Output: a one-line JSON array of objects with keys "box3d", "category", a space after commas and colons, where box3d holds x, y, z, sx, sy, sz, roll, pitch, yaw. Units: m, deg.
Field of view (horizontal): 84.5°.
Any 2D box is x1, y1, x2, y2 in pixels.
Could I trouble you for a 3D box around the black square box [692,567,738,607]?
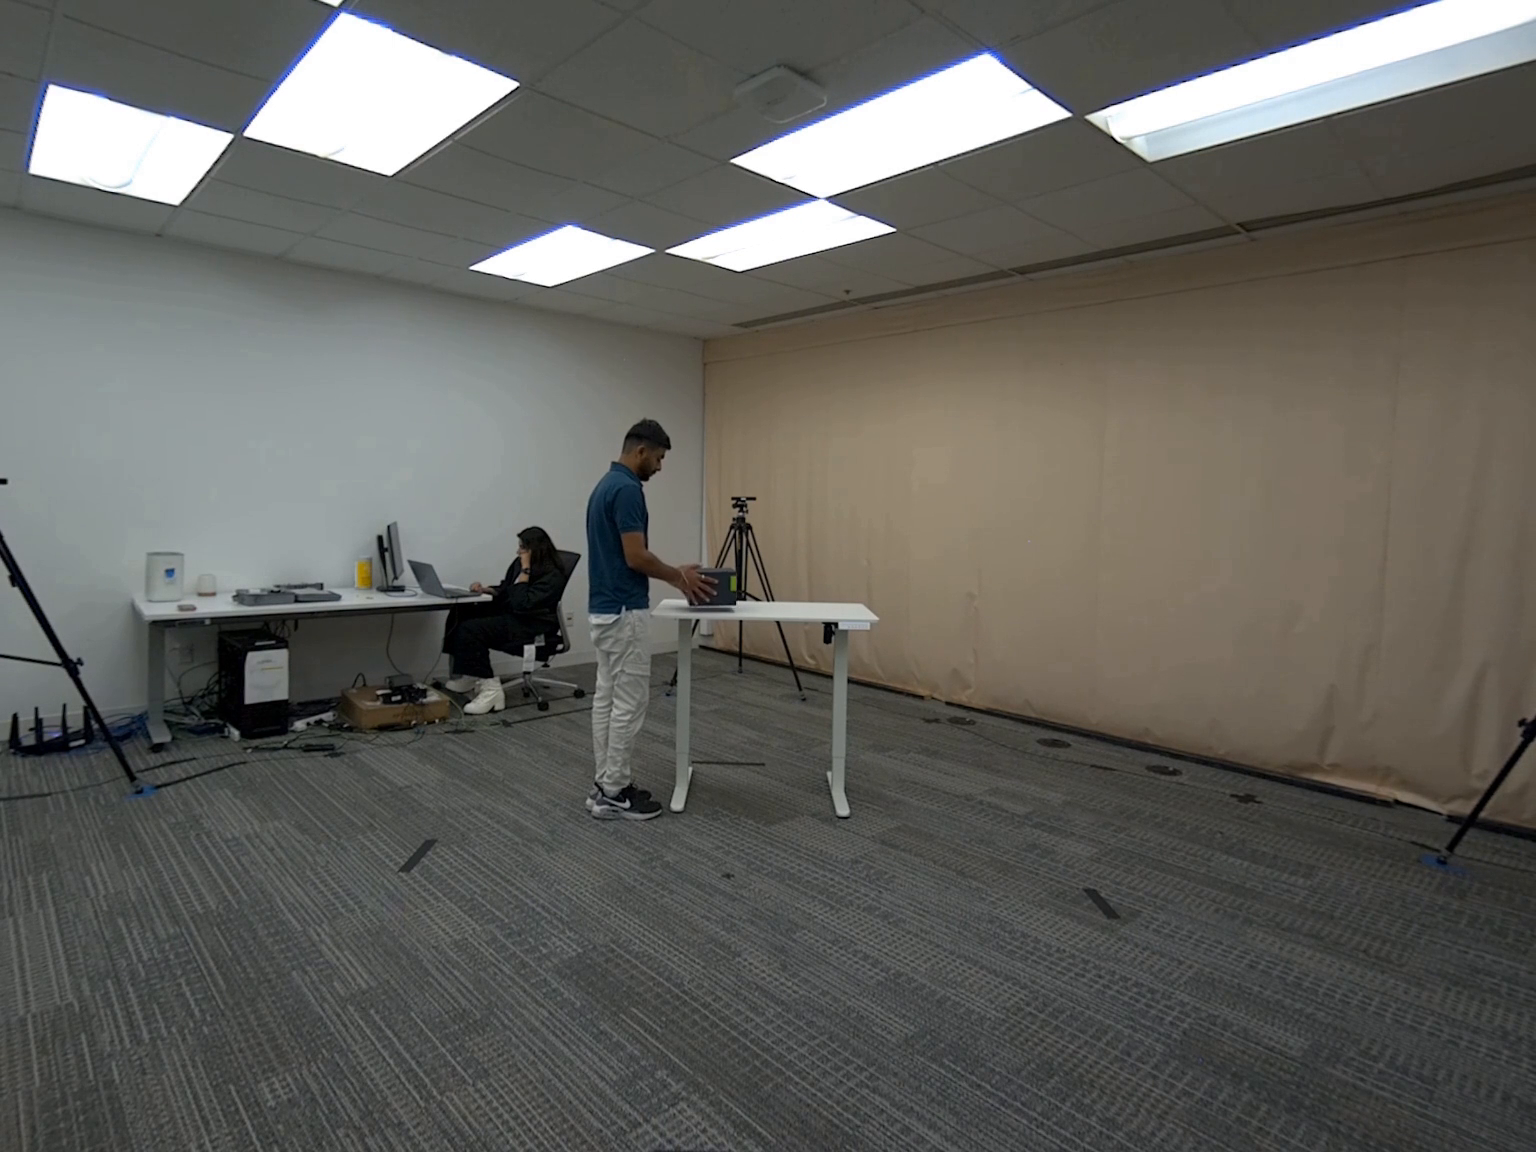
[{"box3d": [-0.257, 0.041, 3.886, 0.216, 0.155, 0.229, -2, 3, -3], "category": "black square box"}]
